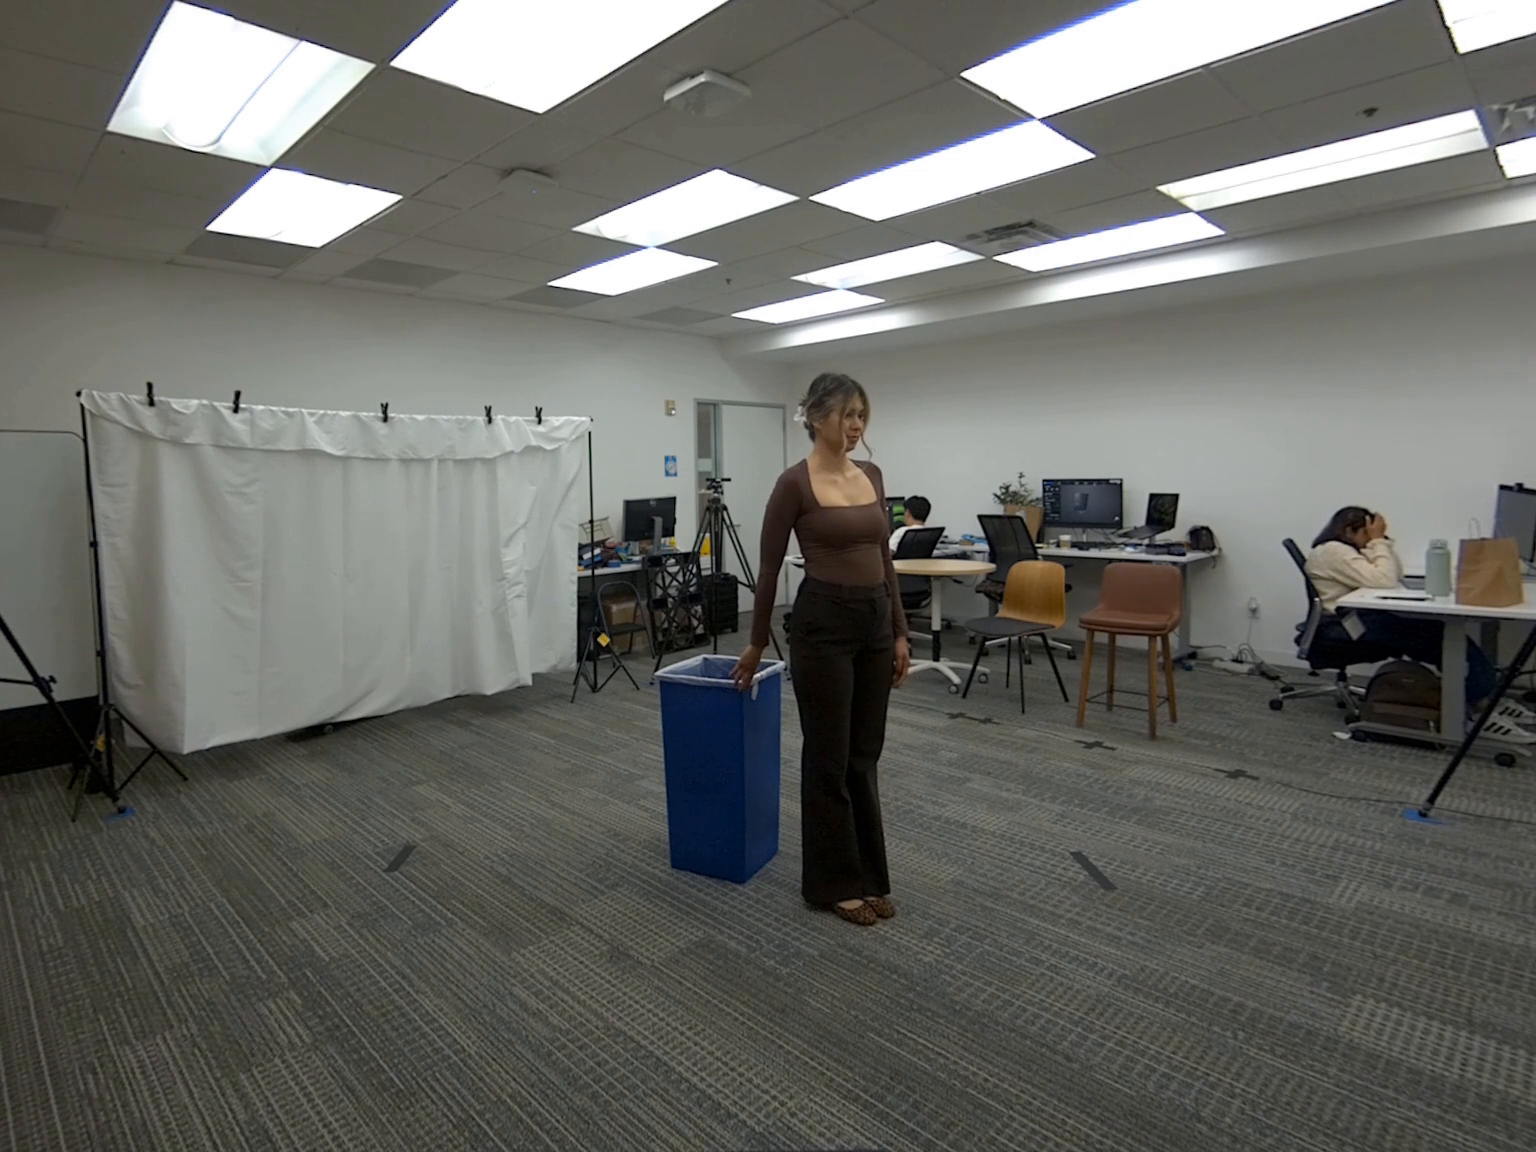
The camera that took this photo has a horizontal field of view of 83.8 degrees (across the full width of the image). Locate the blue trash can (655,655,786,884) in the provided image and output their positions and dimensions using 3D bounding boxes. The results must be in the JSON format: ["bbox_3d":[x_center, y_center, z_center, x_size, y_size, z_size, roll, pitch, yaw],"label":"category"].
[{"bbox_3d":[-0.157,0.683,3.115,0.387,0.712,0.366,1,3,26],"label":"blue trash can"}]
